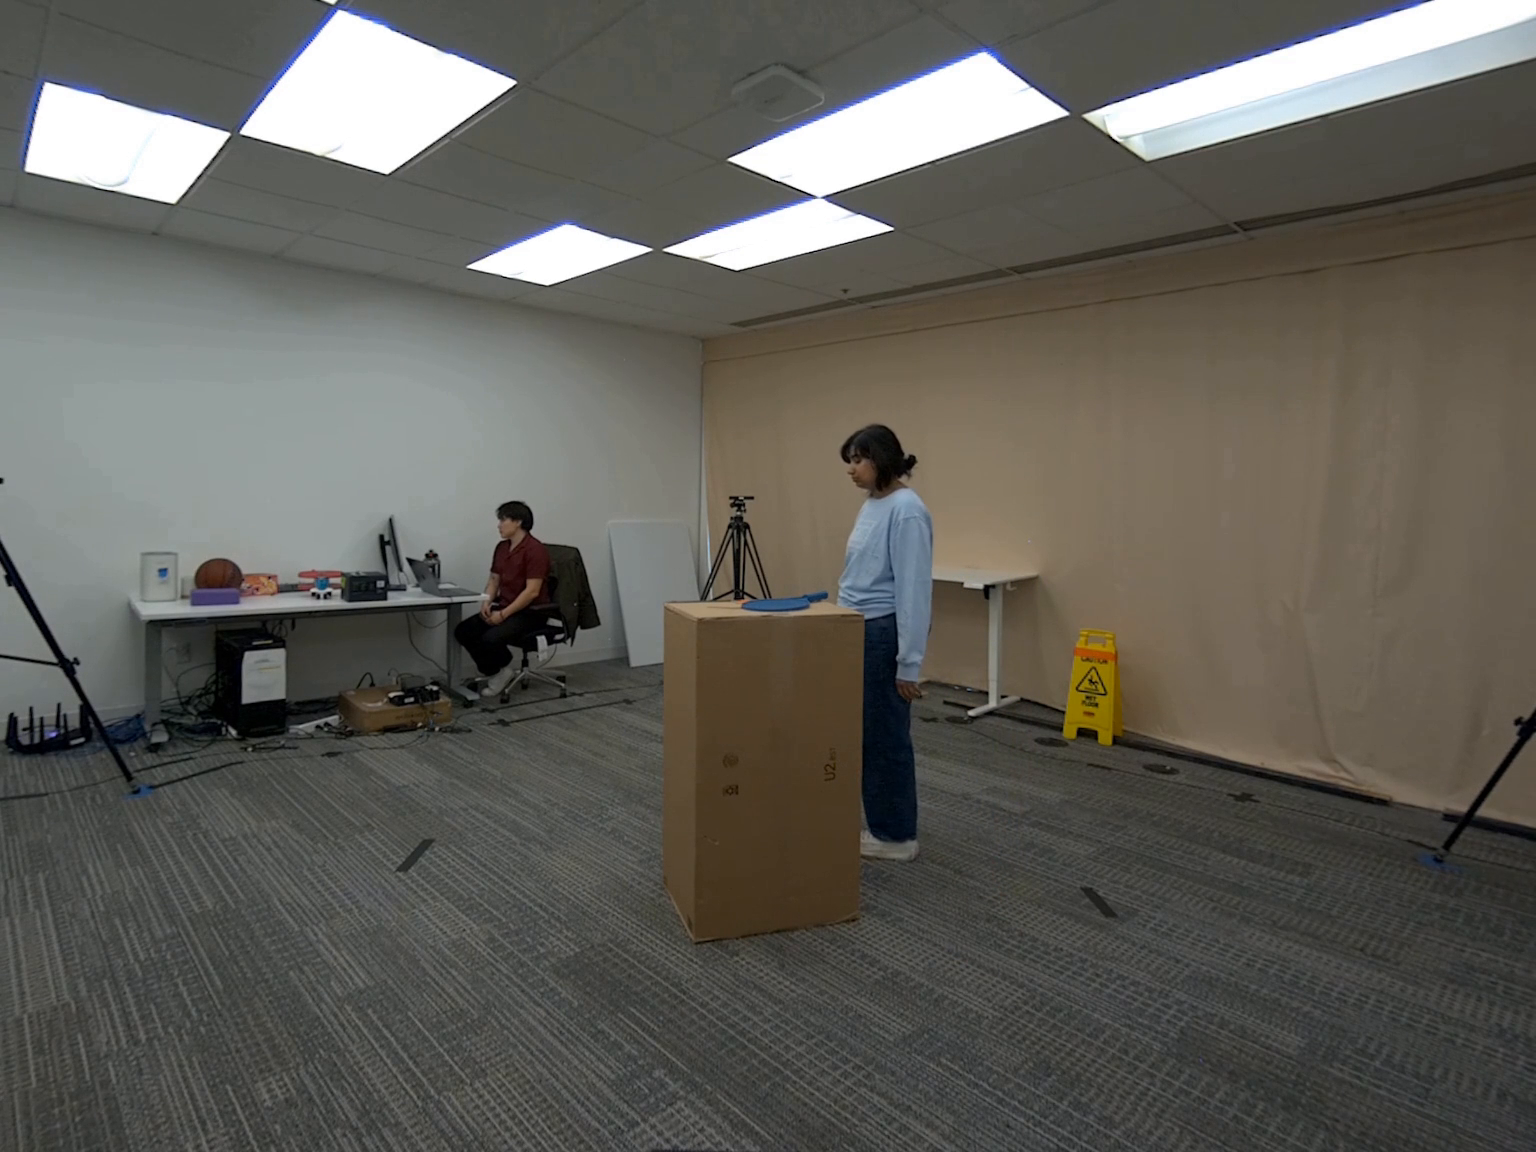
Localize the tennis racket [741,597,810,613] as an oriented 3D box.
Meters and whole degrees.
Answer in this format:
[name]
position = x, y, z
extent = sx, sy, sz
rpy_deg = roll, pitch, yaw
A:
[tennis racket]
position = 0.061, 0.096, 2.911
extent = 0.219, 0.031, 0.424
rpy_deg = 5, 8, 36
